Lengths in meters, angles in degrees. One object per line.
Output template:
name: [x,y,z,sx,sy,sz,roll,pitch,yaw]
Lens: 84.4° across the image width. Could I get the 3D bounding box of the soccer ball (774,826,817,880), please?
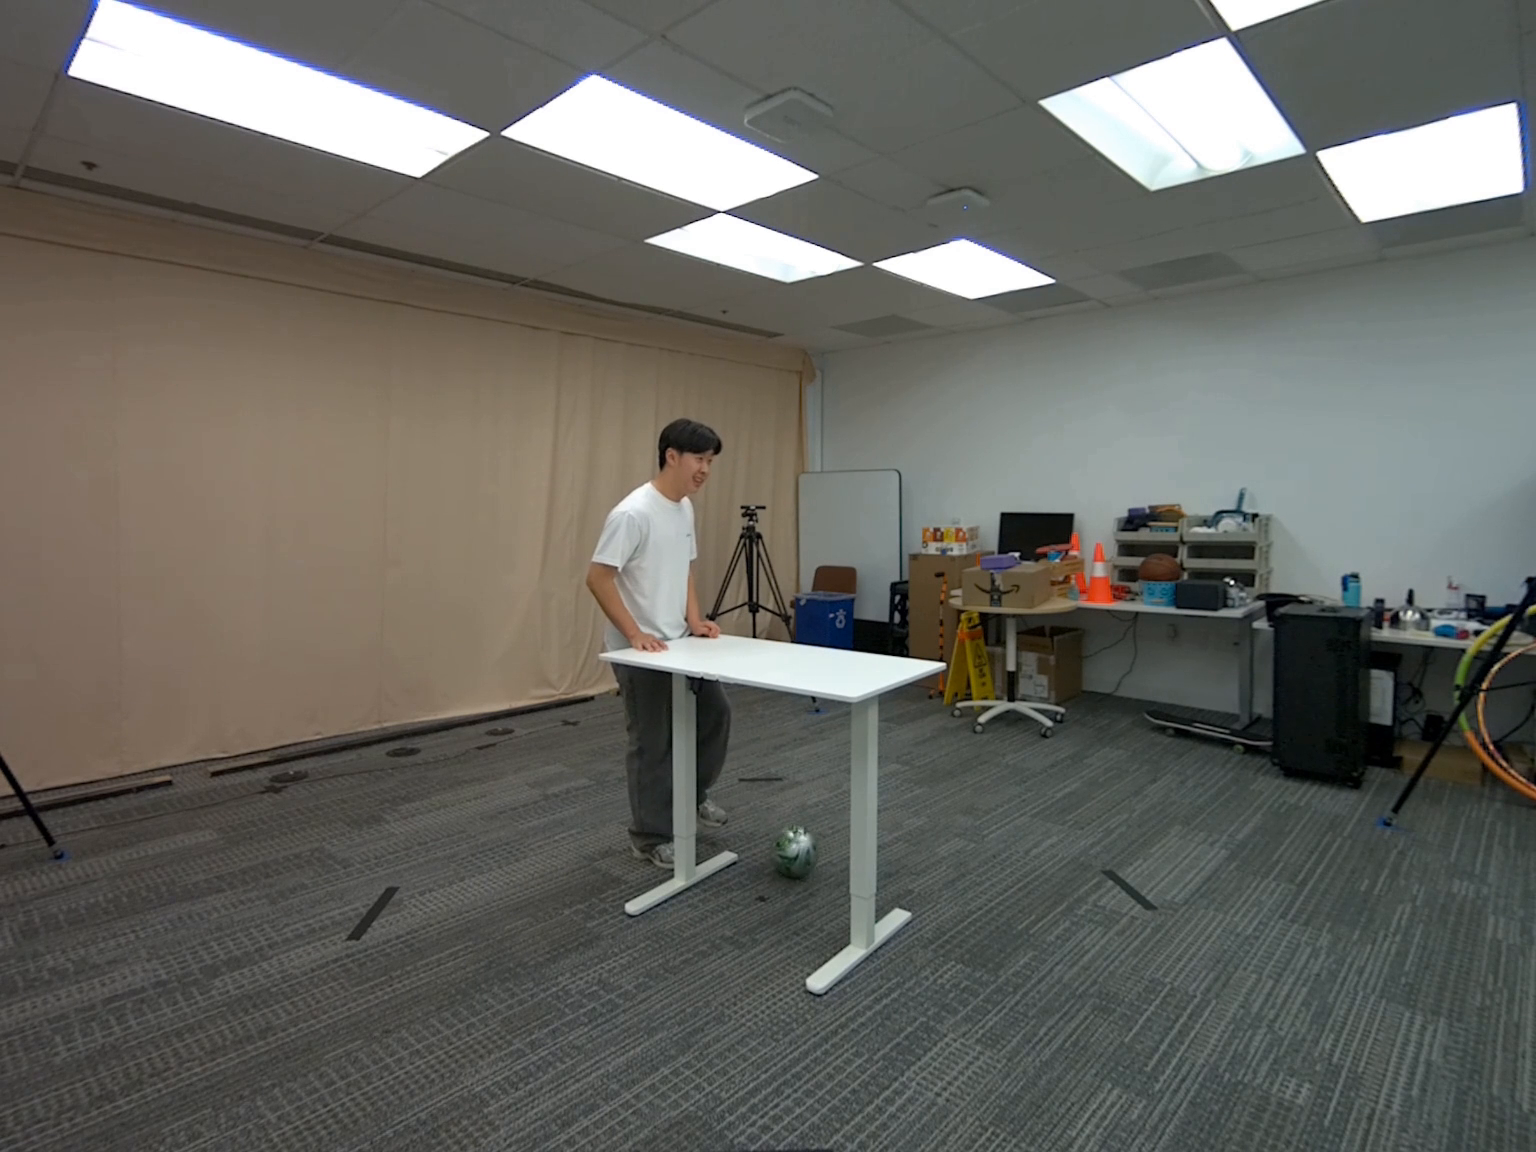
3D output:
soccer ball: [0.108,1.034,3.168,0.187,0.187,0.188,0,4,-2]
